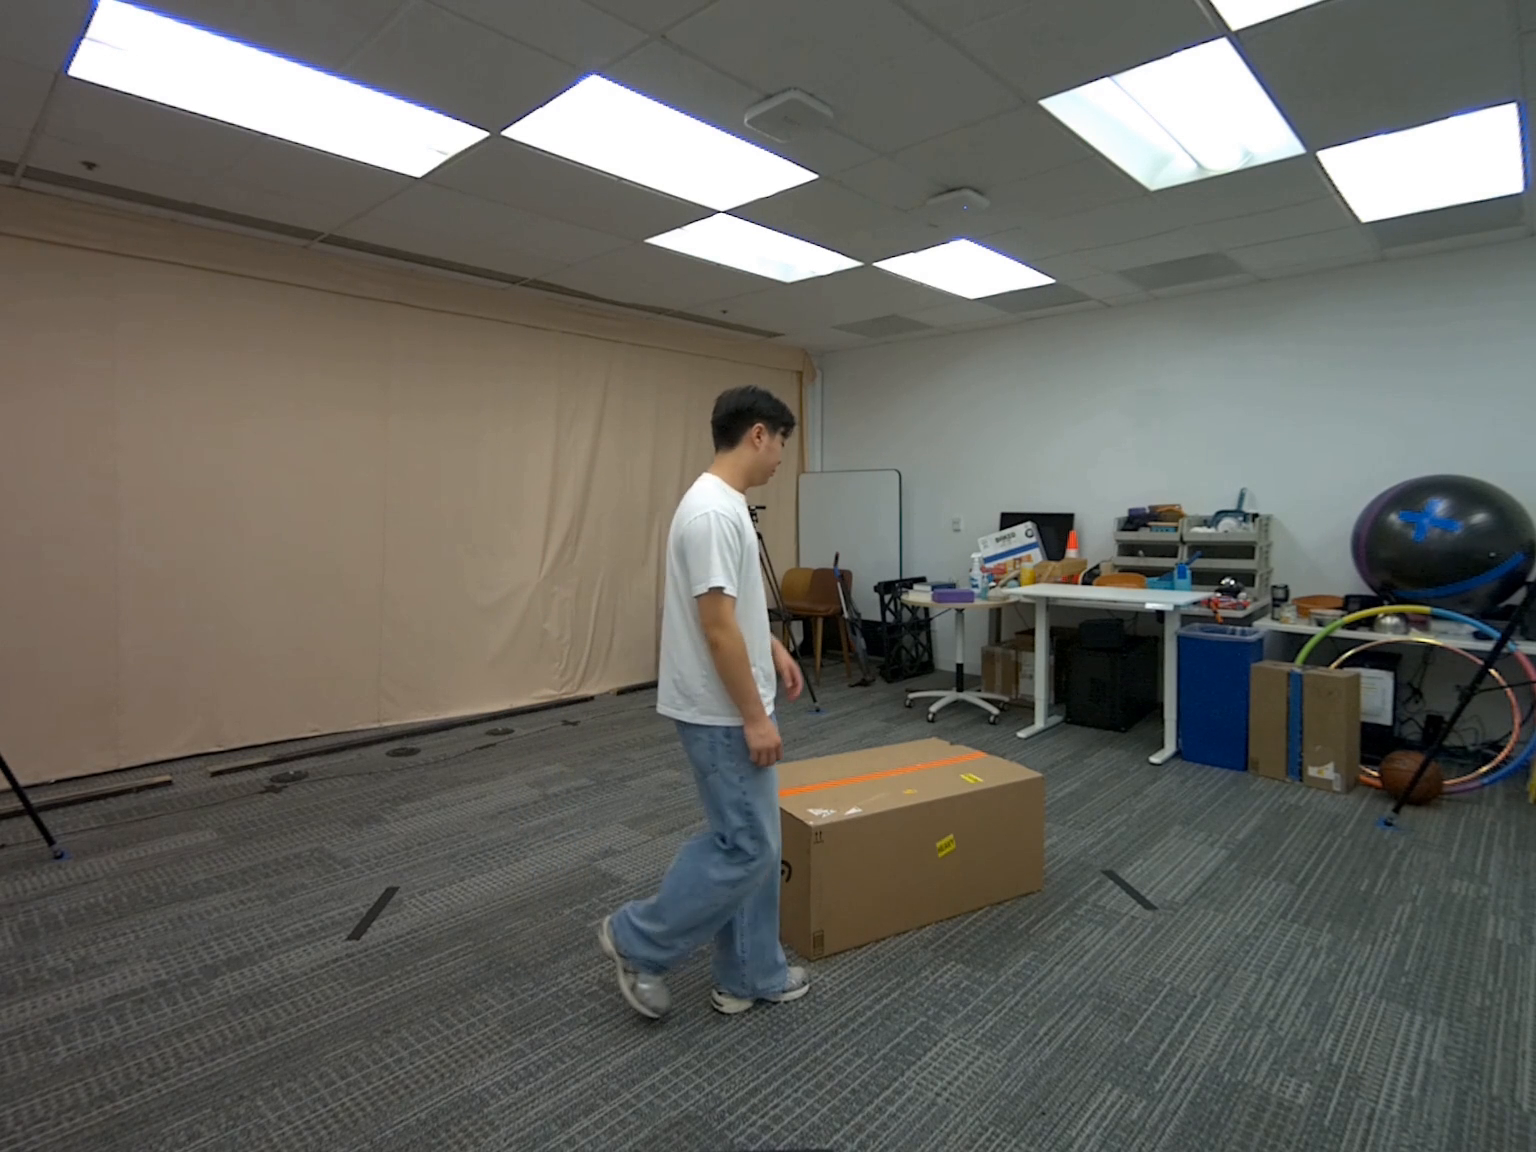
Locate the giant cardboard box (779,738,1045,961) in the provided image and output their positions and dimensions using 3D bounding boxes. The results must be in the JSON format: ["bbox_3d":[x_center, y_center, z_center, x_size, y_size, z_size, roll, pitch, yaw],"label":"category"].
[{"bbox_3d":[0.413,0.924,3.043,0.999,0.425,0.594,-3,5,-30],"label":"giant cardboard box"}]
